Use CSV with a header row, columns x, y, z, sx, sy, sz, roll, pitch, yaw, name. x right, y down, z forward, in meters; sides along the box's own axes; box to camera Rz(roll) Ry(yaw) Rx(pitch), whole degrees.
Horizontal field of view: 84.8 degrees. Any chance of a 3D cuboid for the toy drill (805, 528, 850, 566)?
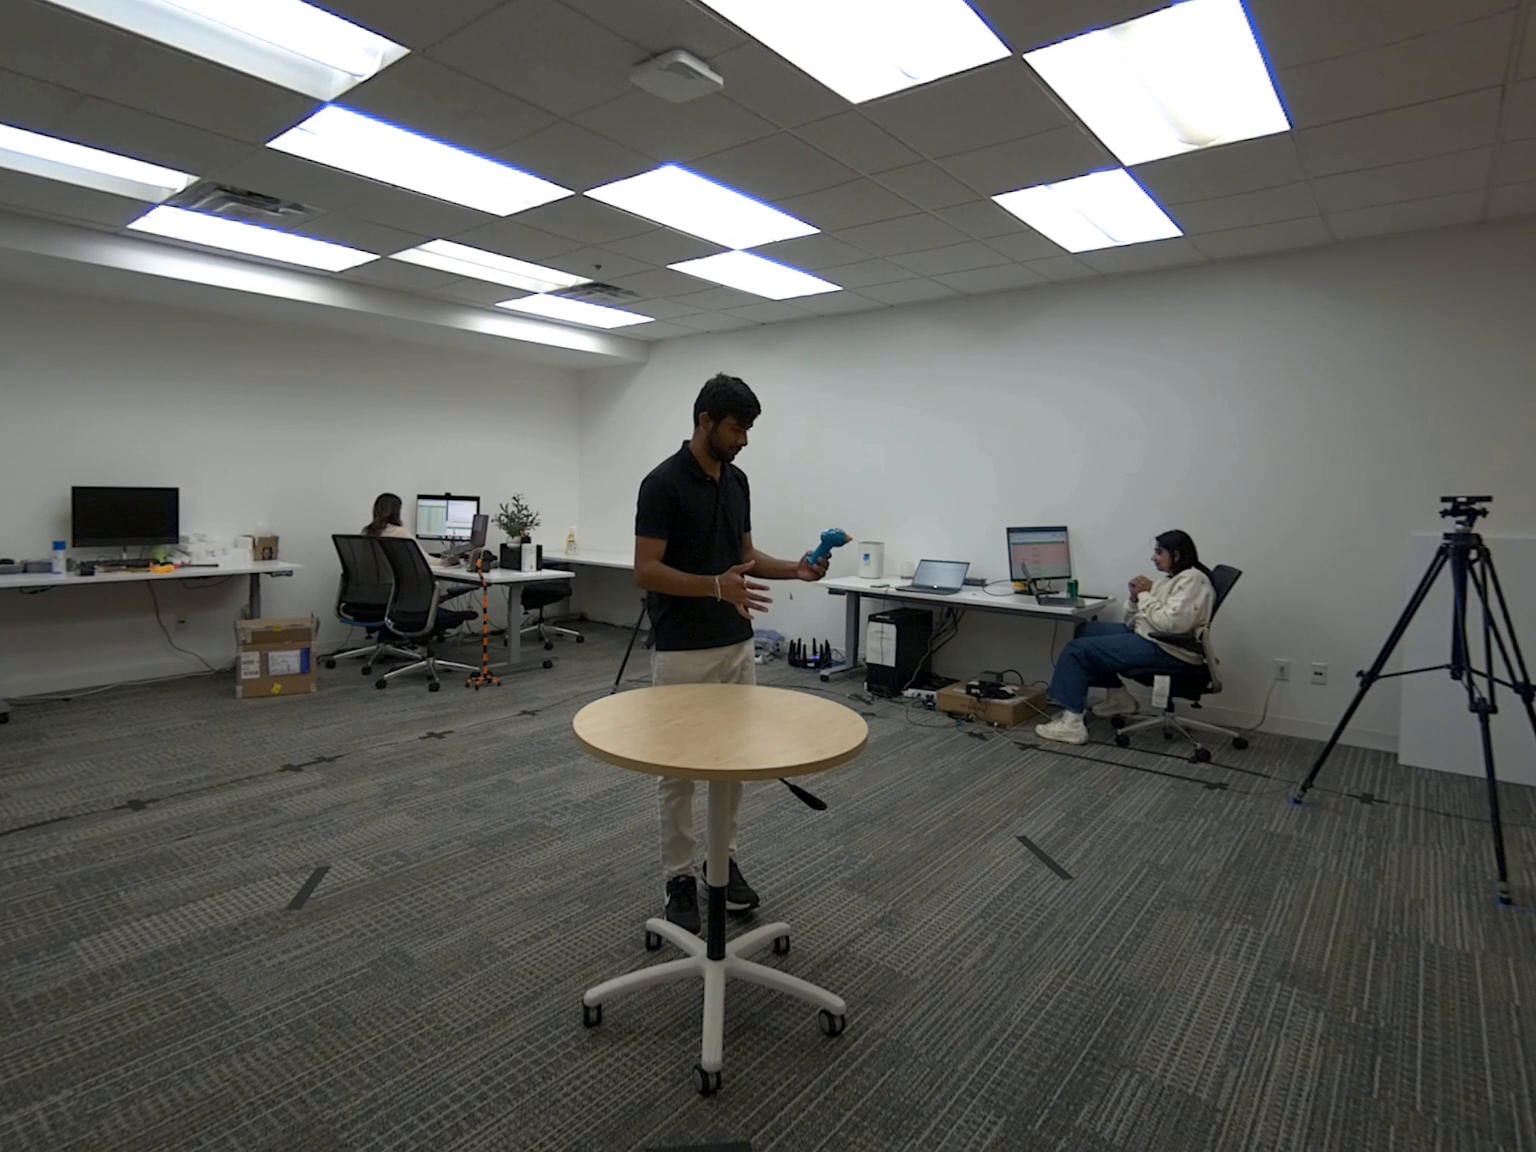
x,y,z,sx,sy,sz,roll,pitch,yaw,name
0.185,-0.088,2.667,0.164,0.145,0.063,5,31,-51,toy drill
